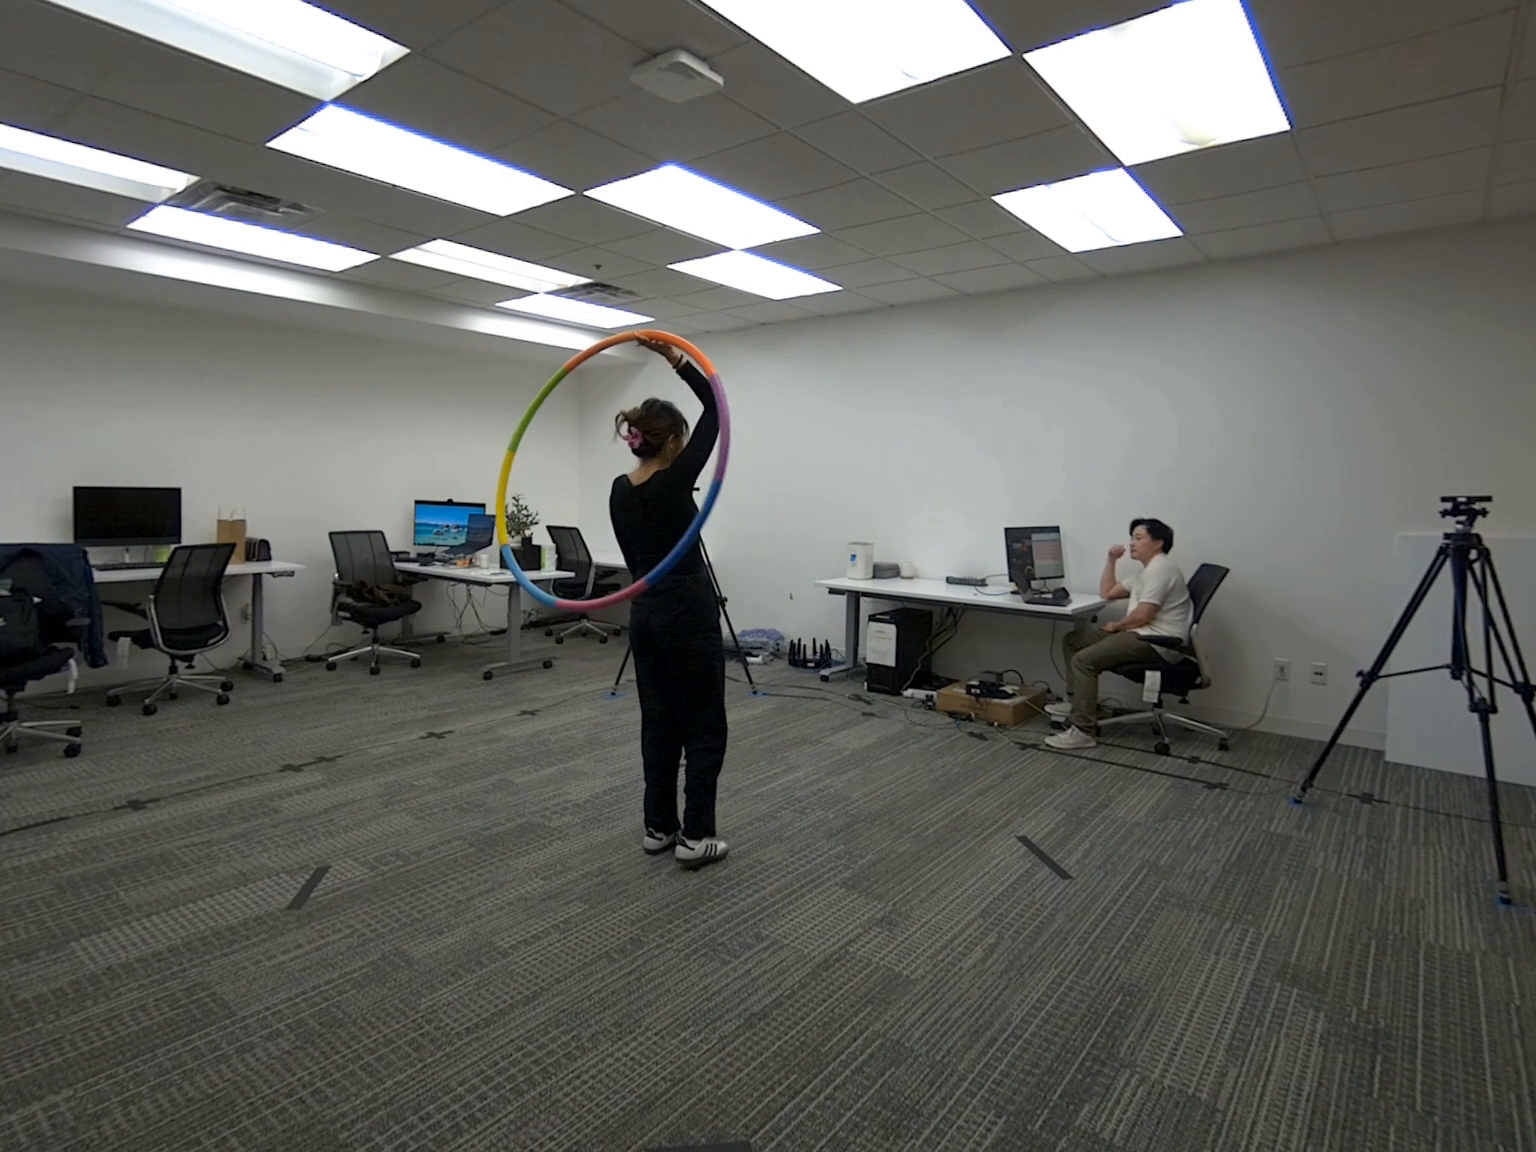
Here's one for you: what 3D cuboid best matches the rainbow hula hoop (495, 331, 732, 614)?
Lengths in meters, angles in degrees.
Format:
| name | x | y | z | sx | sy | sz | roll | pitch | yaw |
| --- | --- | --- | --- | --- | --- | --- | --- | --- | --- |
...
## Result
| name | x | y | z | sx | sy | sz | roll | pitch | yaw |
| --- | --- | --- | --- | --- | --- | --- | --- | --- | --- |
| rainbow hula hoop | -0.545 | -0.377 | 2.855 | 1.016 | 0.995 | 0.049 | 3 | -15 | 32 |
